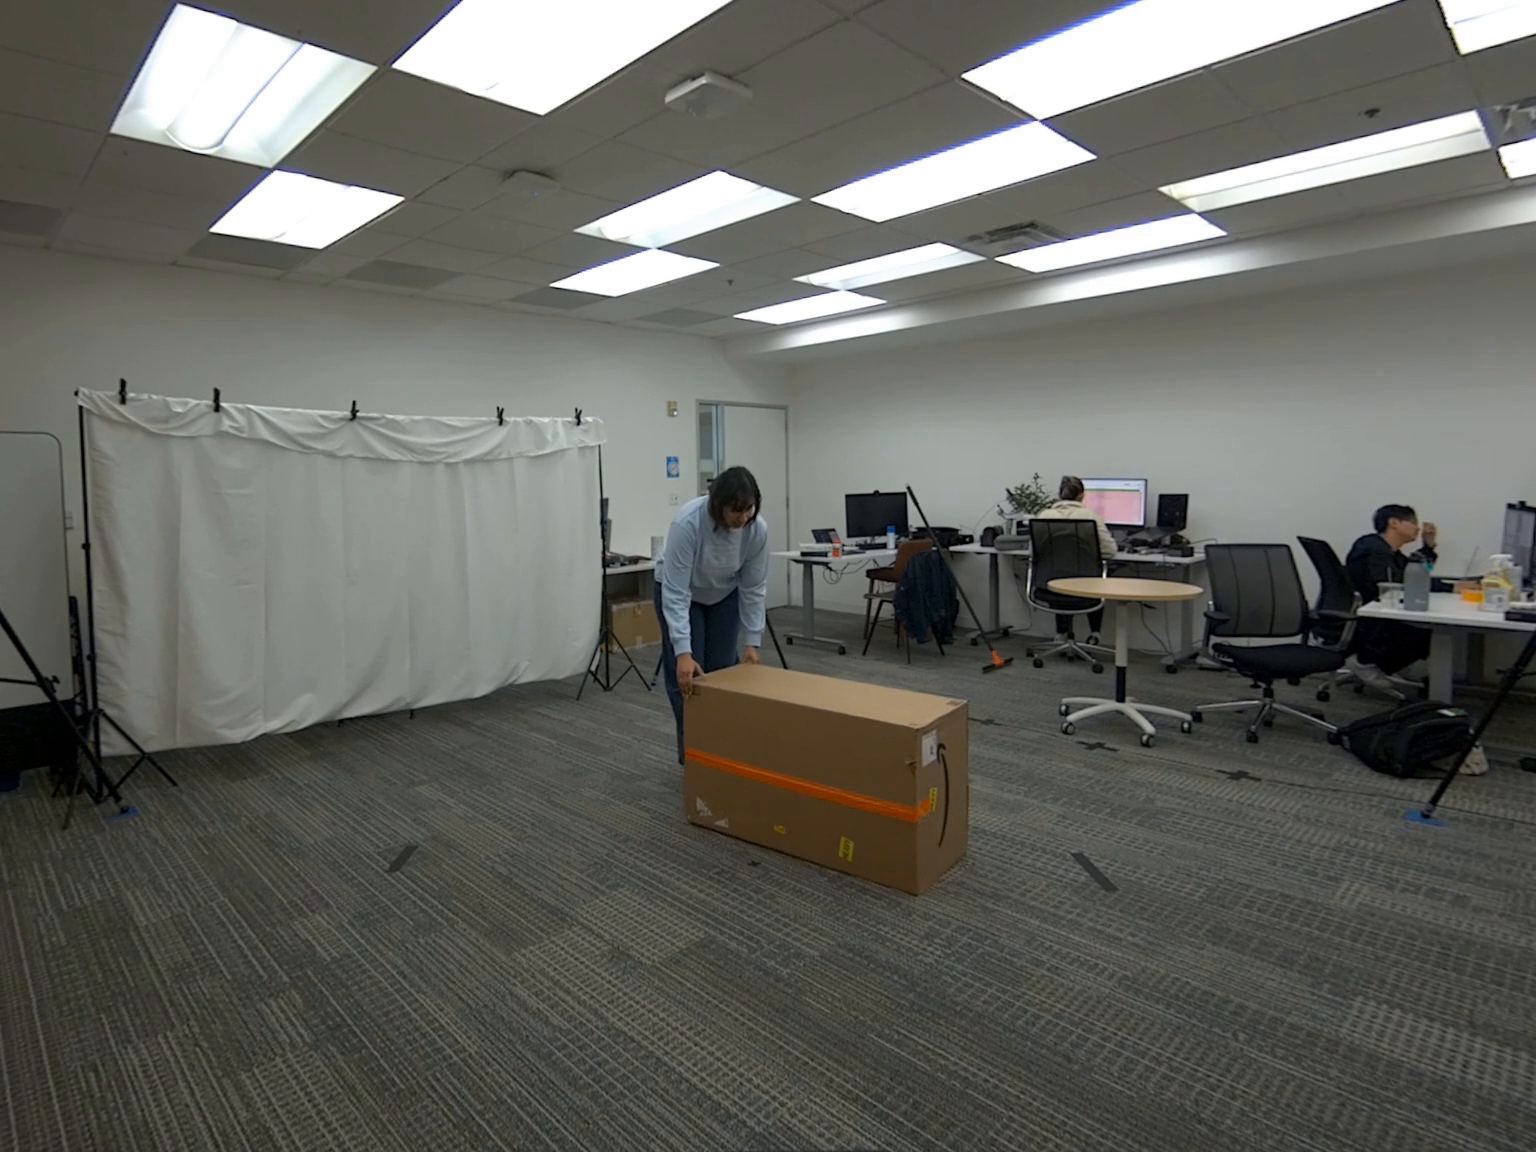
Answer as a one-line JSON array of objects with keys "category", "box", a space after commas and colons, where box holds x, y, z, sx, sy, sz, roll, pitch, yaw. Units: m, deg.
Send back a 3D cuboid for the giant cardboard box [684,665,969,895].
[{"category": "giant cardboard box", "box": [0.205, 0.725, 3.292, 1.058, 0.582, 0.435, 5, 6, 38]}]
